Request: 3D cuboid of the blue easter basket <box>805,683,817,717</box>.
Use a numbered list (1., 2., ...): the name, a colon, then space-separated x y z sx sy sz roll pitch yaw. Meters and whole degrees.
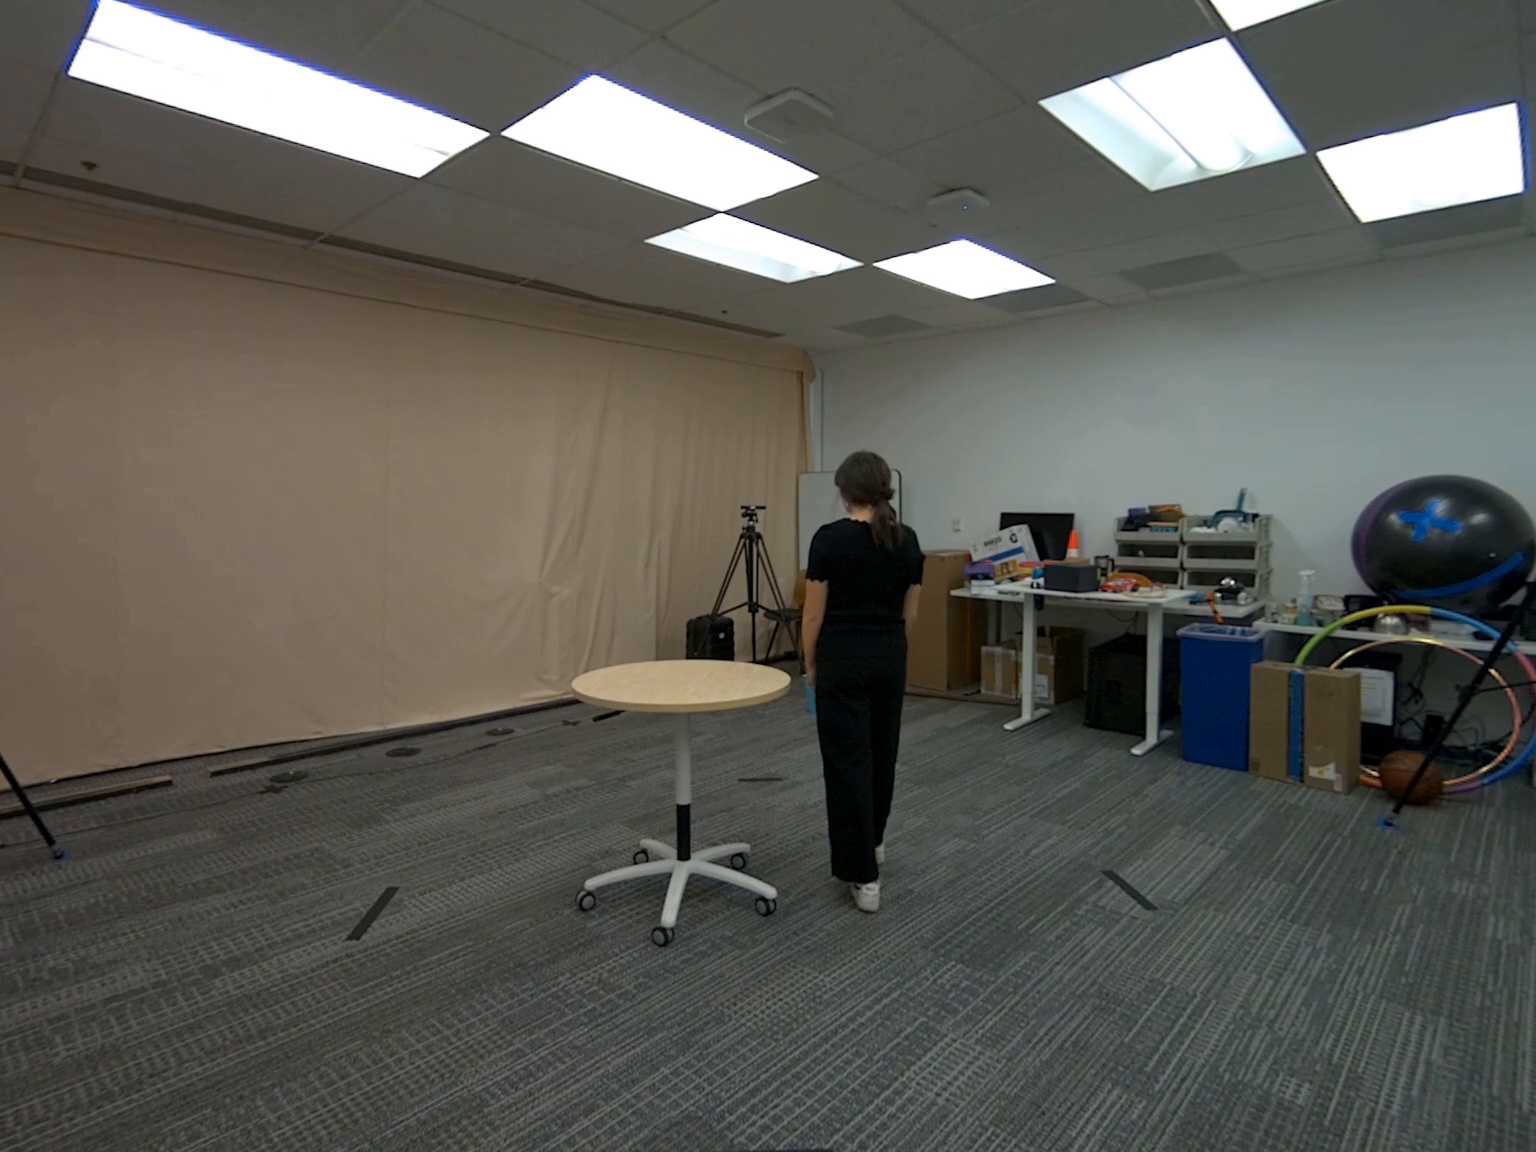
1. blue easter basket: 0.259 0.455 3.271 0.243 0.156 0.243 -2 -4 -2
